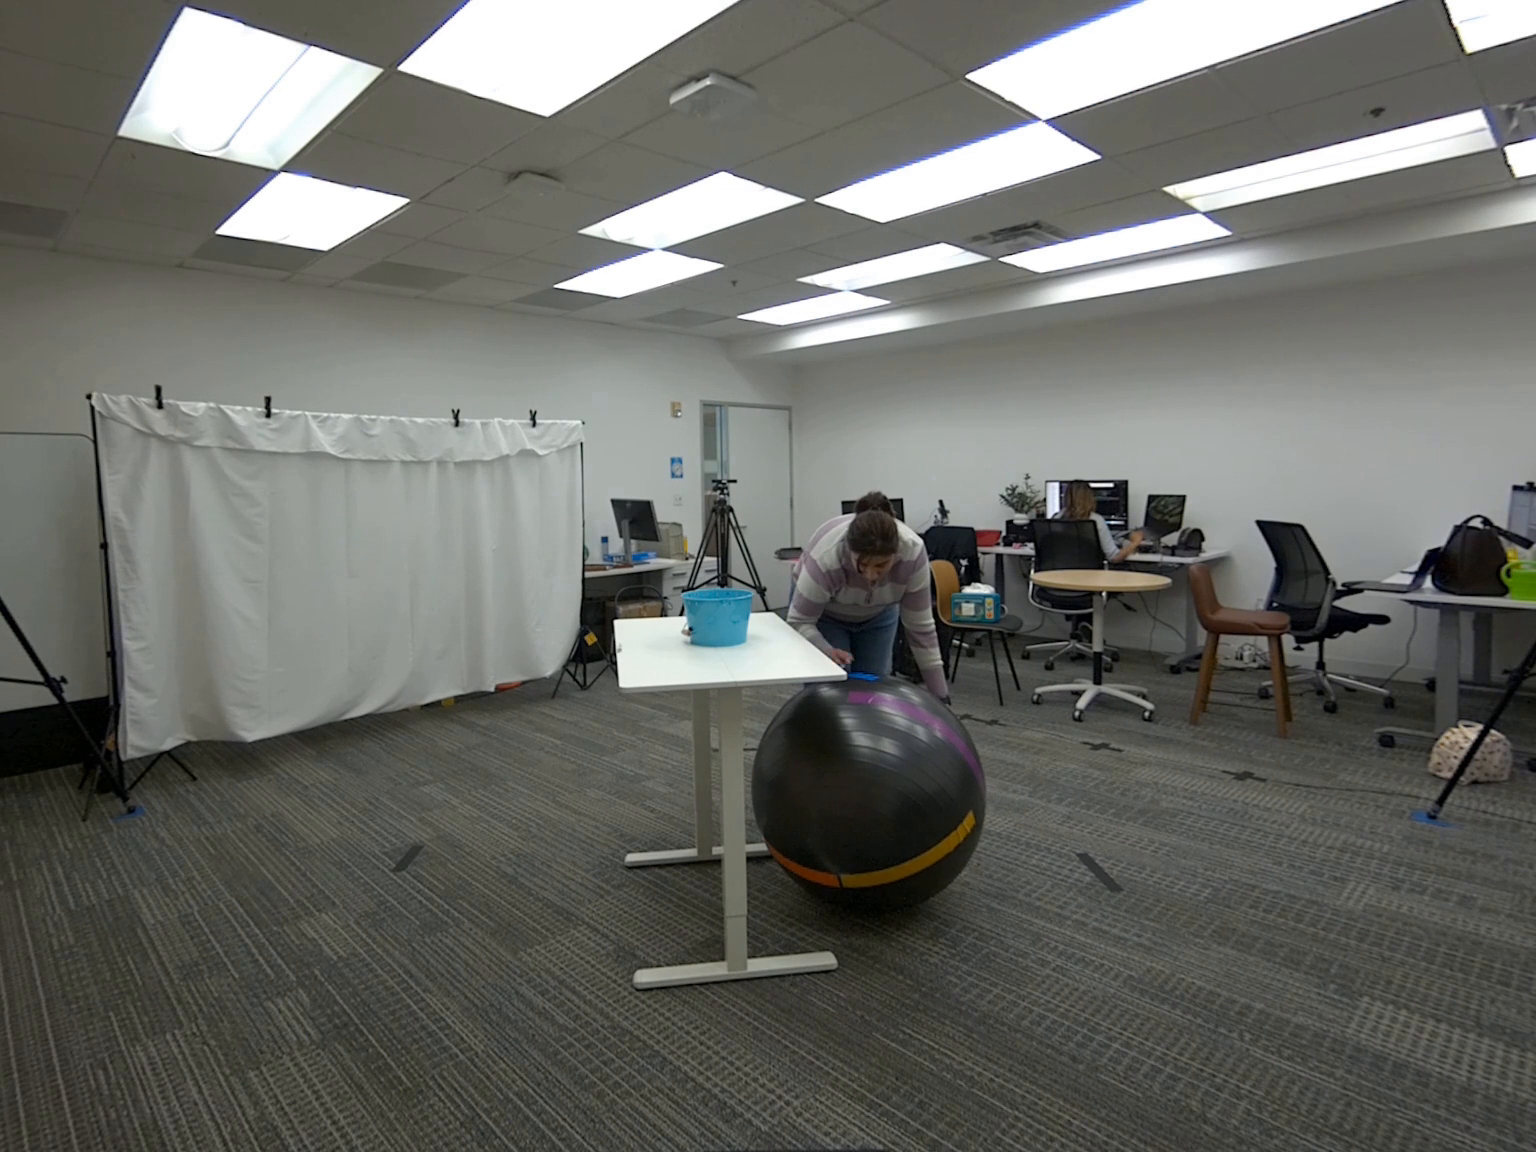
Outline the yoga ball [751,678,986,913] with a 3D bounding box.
[{"bbox_3d":[0.332,0.709,2.820,0.757,0.755,0.762,-1,5,-2],"label":"yoga ball"}]
